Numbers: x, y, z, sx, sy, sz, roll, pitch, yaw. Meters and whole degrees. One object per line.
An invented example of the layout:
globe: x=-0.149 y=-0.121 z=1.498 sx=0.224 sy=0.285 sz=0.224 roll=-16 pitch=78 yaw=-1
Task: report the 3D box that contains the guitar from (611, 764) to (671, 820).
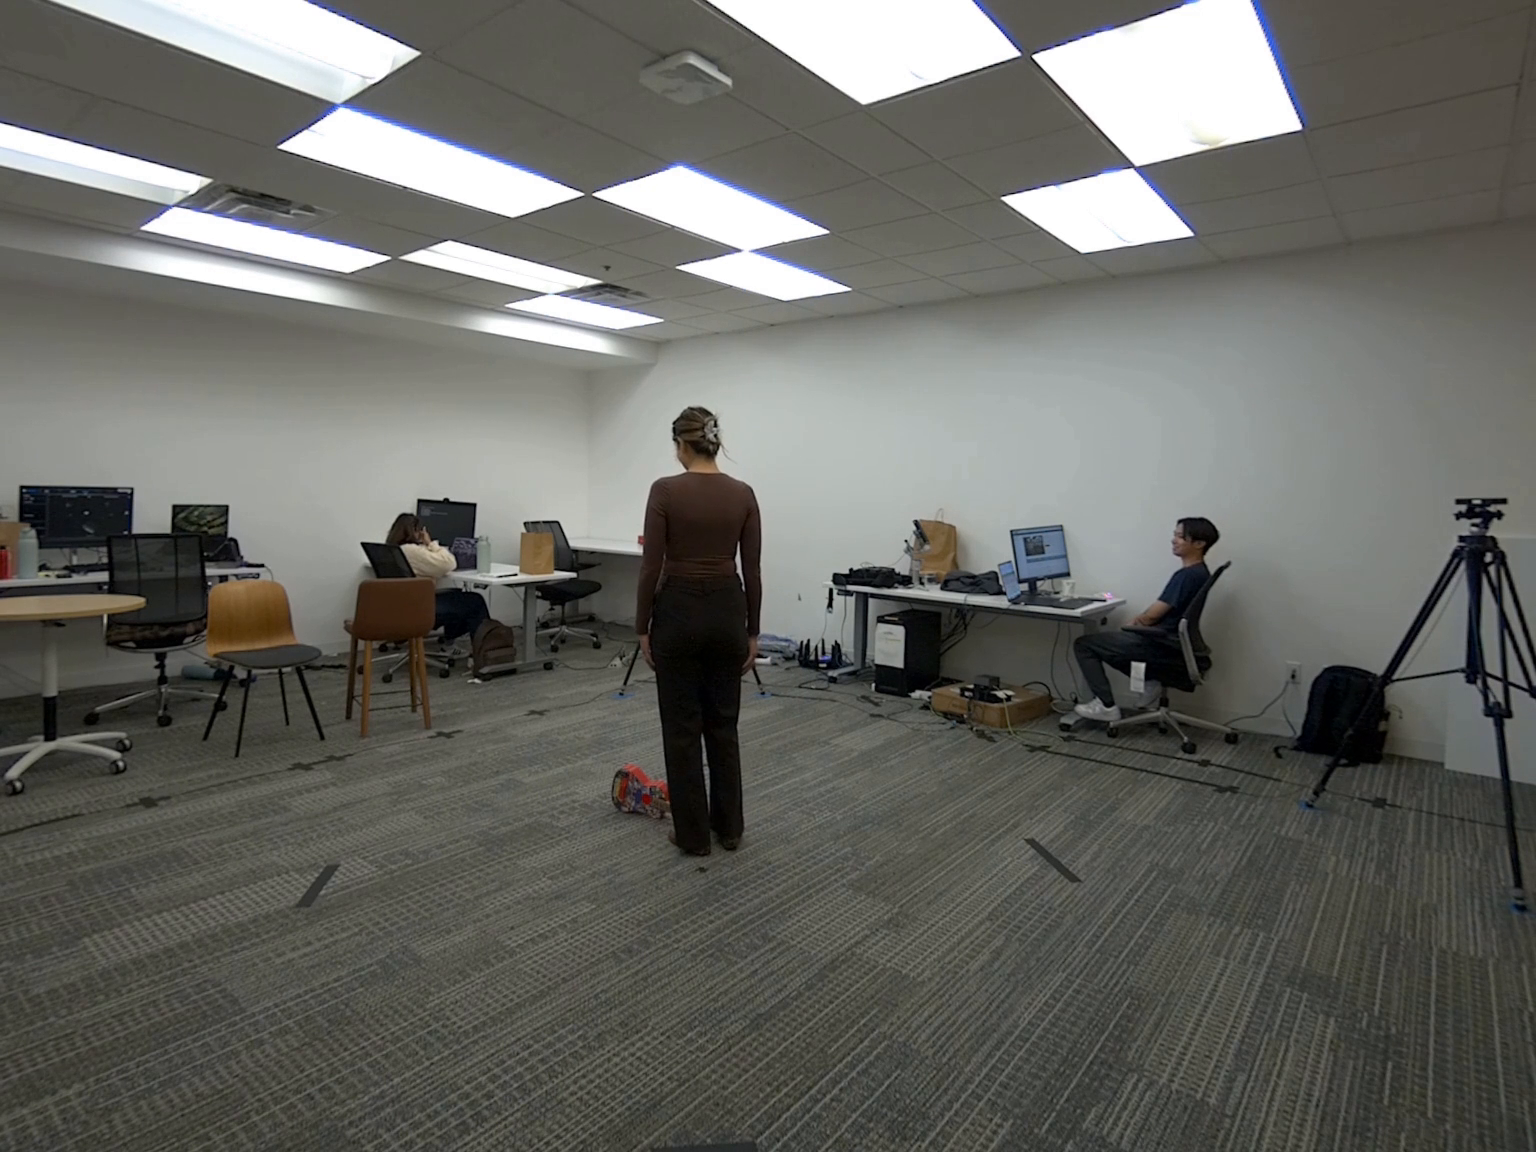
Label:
guitar: x=-0.458 y=0.977 z=3.590 sx=0.511 sy=0.191 sz=0.069 roll=22 pitch=13 yaw=20
